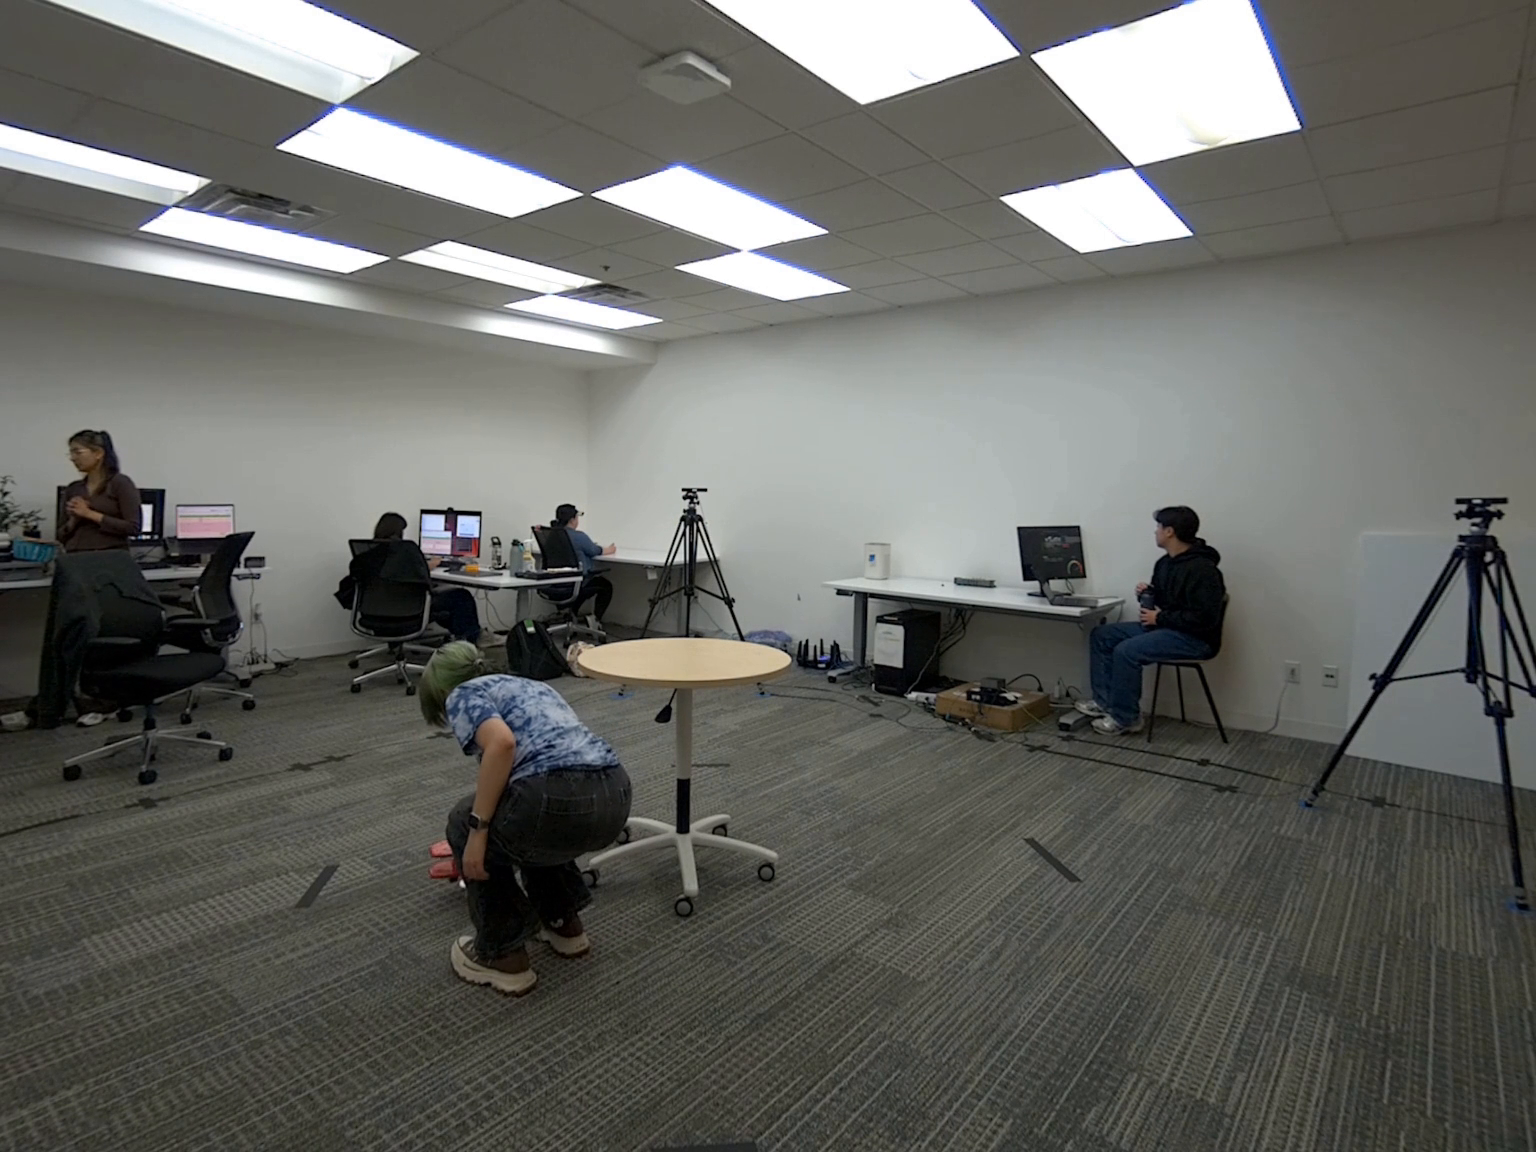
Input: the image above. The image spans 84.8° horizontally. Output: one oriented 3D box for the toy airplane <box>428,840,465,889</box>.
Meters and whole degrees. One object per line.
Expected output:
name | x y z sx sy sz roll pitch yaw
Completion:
toy airplane | -0.996 0.959 2.868 0.266 0.156 0.244 -3 1 31
